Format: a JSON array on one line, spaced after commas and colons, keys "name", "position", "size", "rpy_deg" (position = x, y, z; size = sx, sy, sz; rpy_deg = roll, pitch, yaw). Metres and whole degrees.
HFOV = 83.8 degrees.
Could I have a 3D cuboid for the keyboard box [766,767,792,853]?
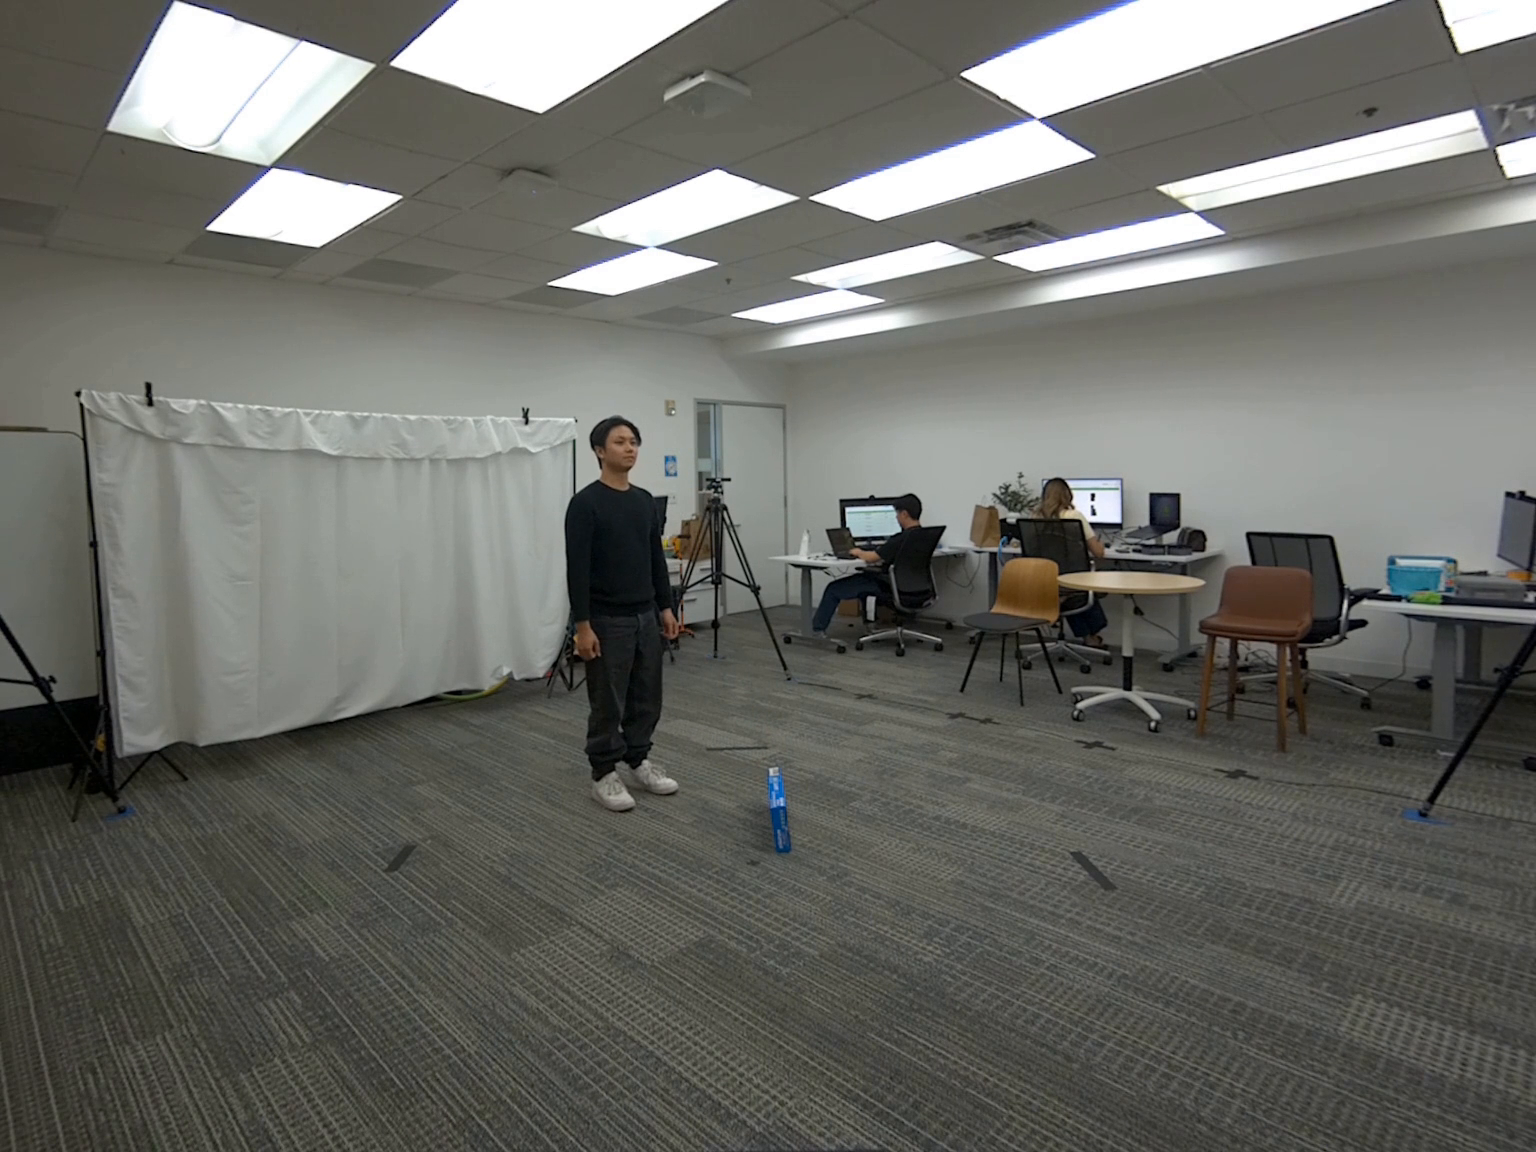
[{"name": "keyboard box", "position": [0.045, 0.918, 3.402], "size": [0.059, 0.175, 0.439], "rpy_deg": [-7, 7, -1]}]
